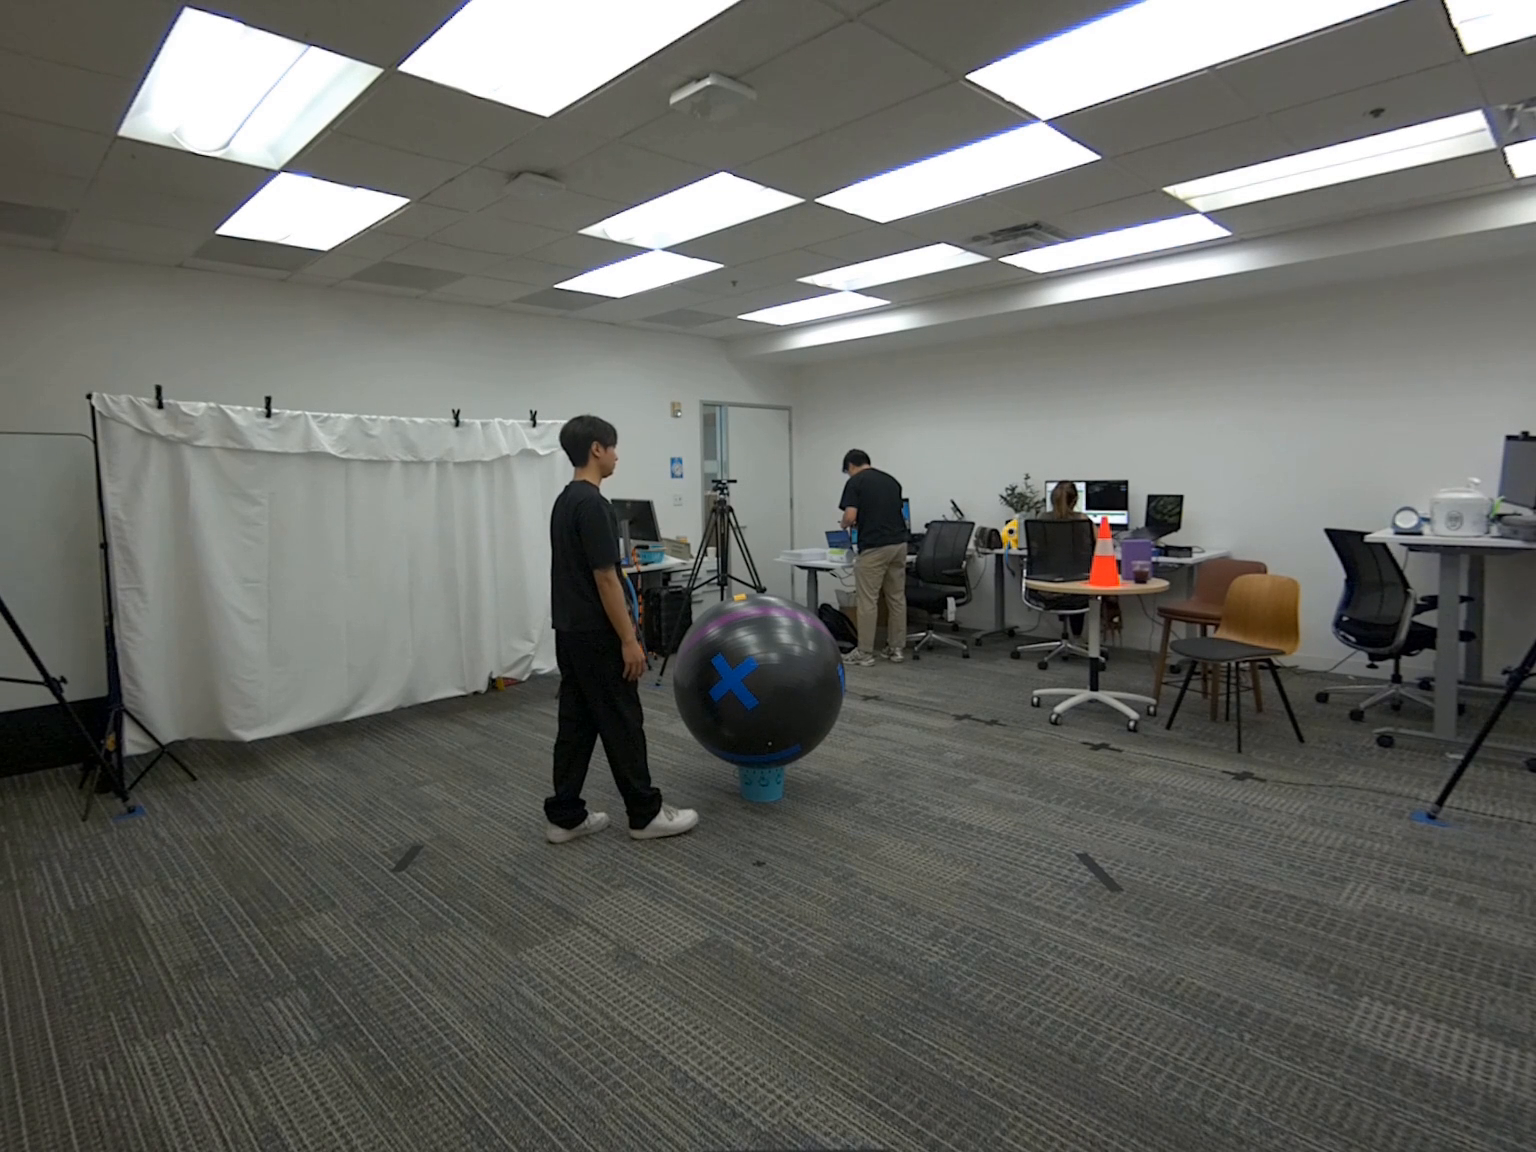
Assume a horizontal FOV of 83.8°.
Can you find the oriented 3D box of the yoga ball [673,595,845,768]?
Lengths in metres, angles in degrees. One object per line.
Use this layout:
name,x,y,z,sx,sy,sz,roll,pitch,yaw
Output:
yoga ball,-0.040,0.462,3.775,0.757,0.755,0.762,-1,5,-2
